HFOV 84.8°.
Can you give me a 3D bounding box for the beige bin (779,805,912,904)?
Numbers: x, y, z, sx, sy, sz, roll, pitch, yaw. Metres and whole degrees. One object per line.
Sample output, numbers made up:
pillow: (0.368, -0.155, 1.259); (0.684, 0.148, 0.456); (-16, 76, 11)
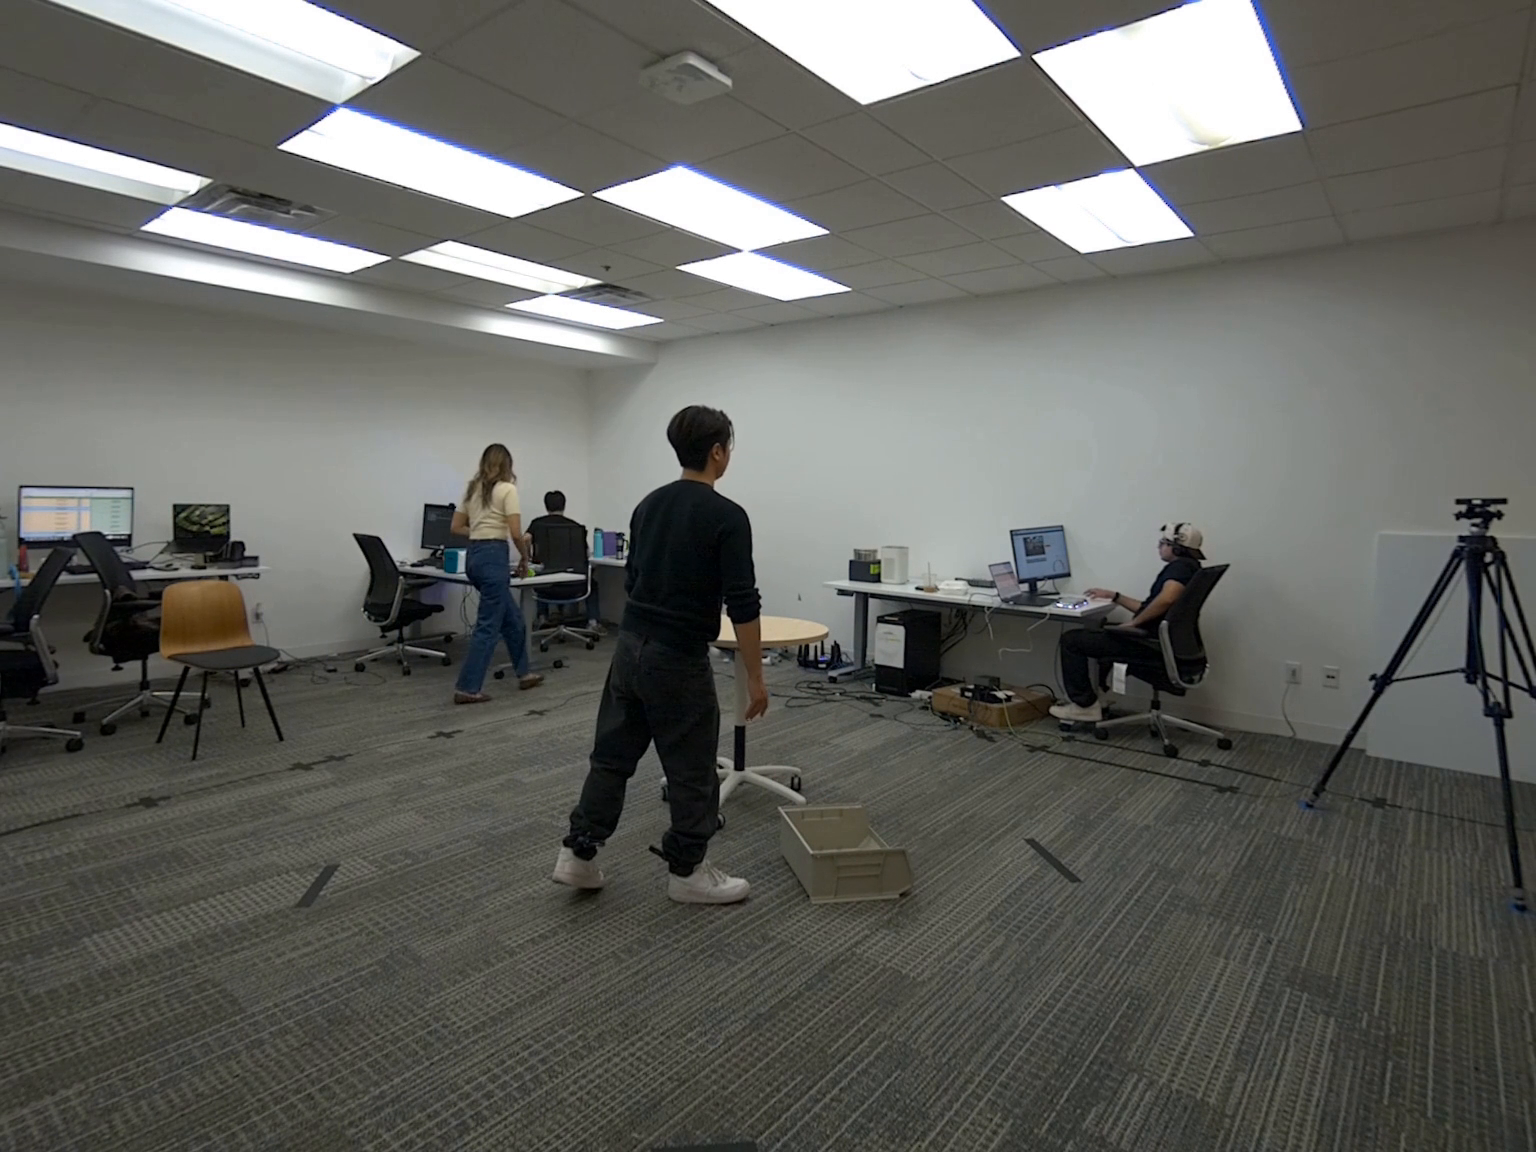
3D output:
beige bin: (0.274, 1.004, 3.093); (0.372, 0.188, 0.430); (0, 6, -13)
